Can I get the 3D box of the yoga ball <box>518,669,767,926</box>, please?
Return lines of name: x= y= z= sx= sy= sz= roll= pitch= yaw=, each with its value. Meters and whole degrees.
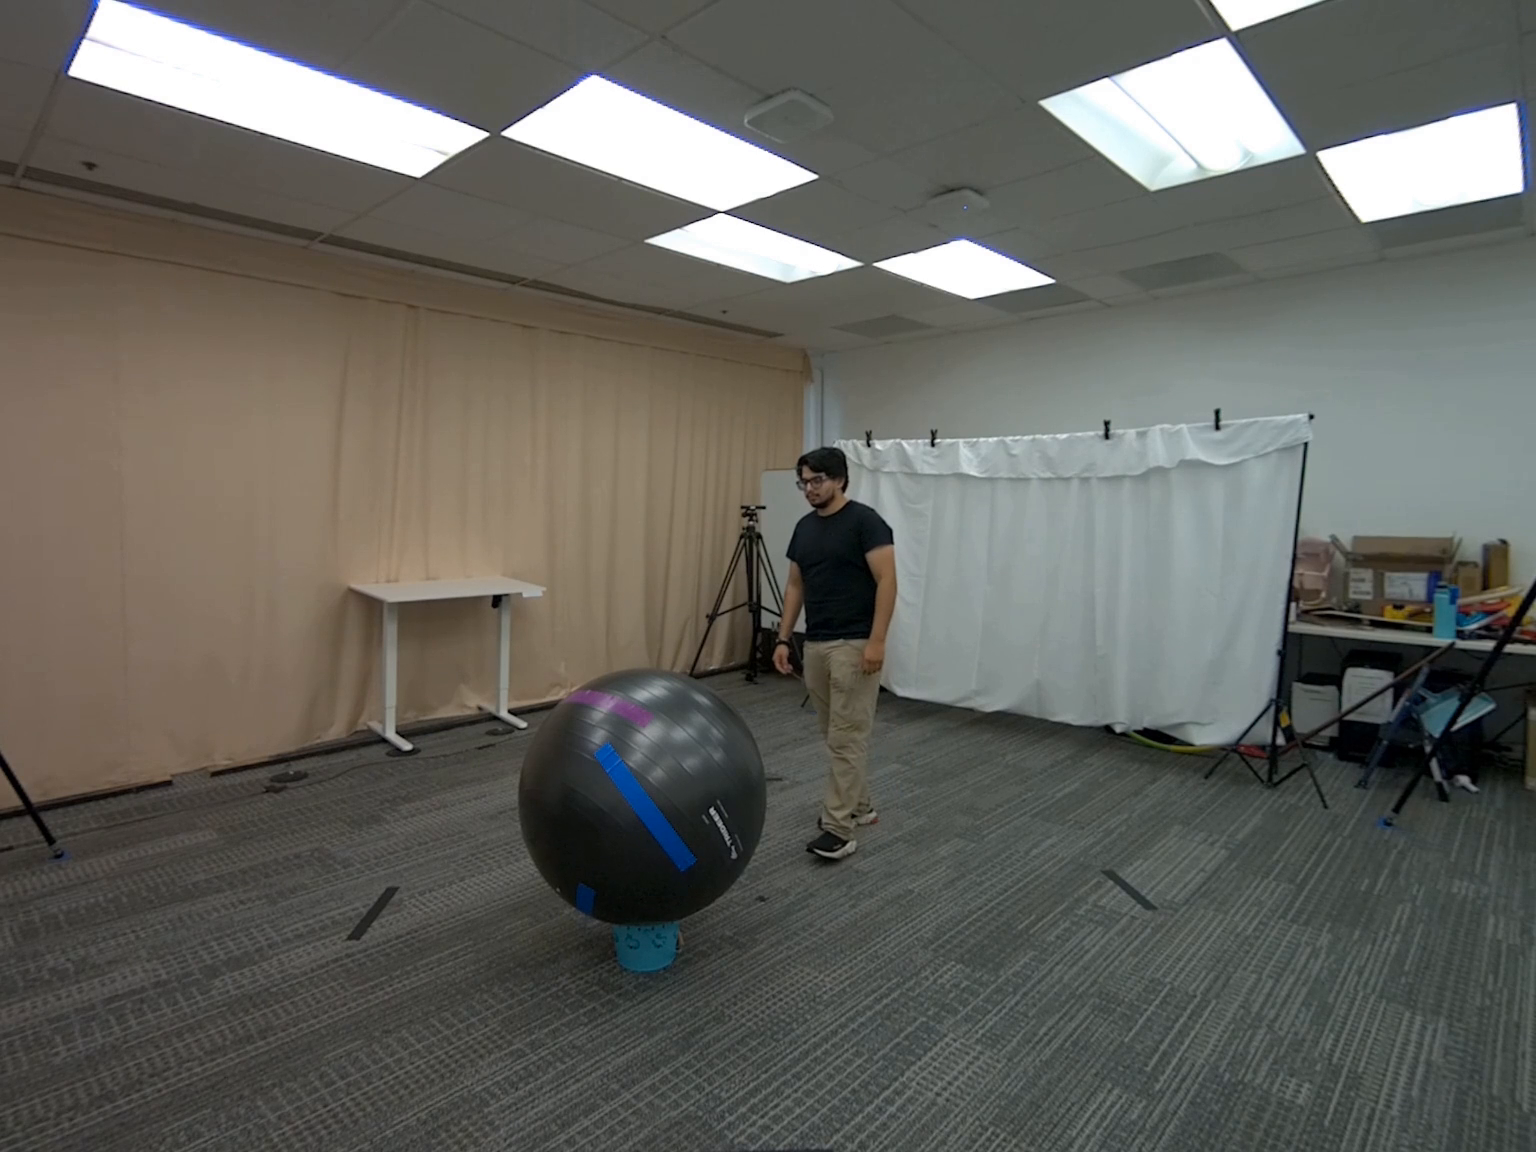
yoga ball: x=-0.379 y=0.668 z=2.596 sx=0.757 sy=0.756 sz=0.760 roll=0 pitch=4 yaw=-2
